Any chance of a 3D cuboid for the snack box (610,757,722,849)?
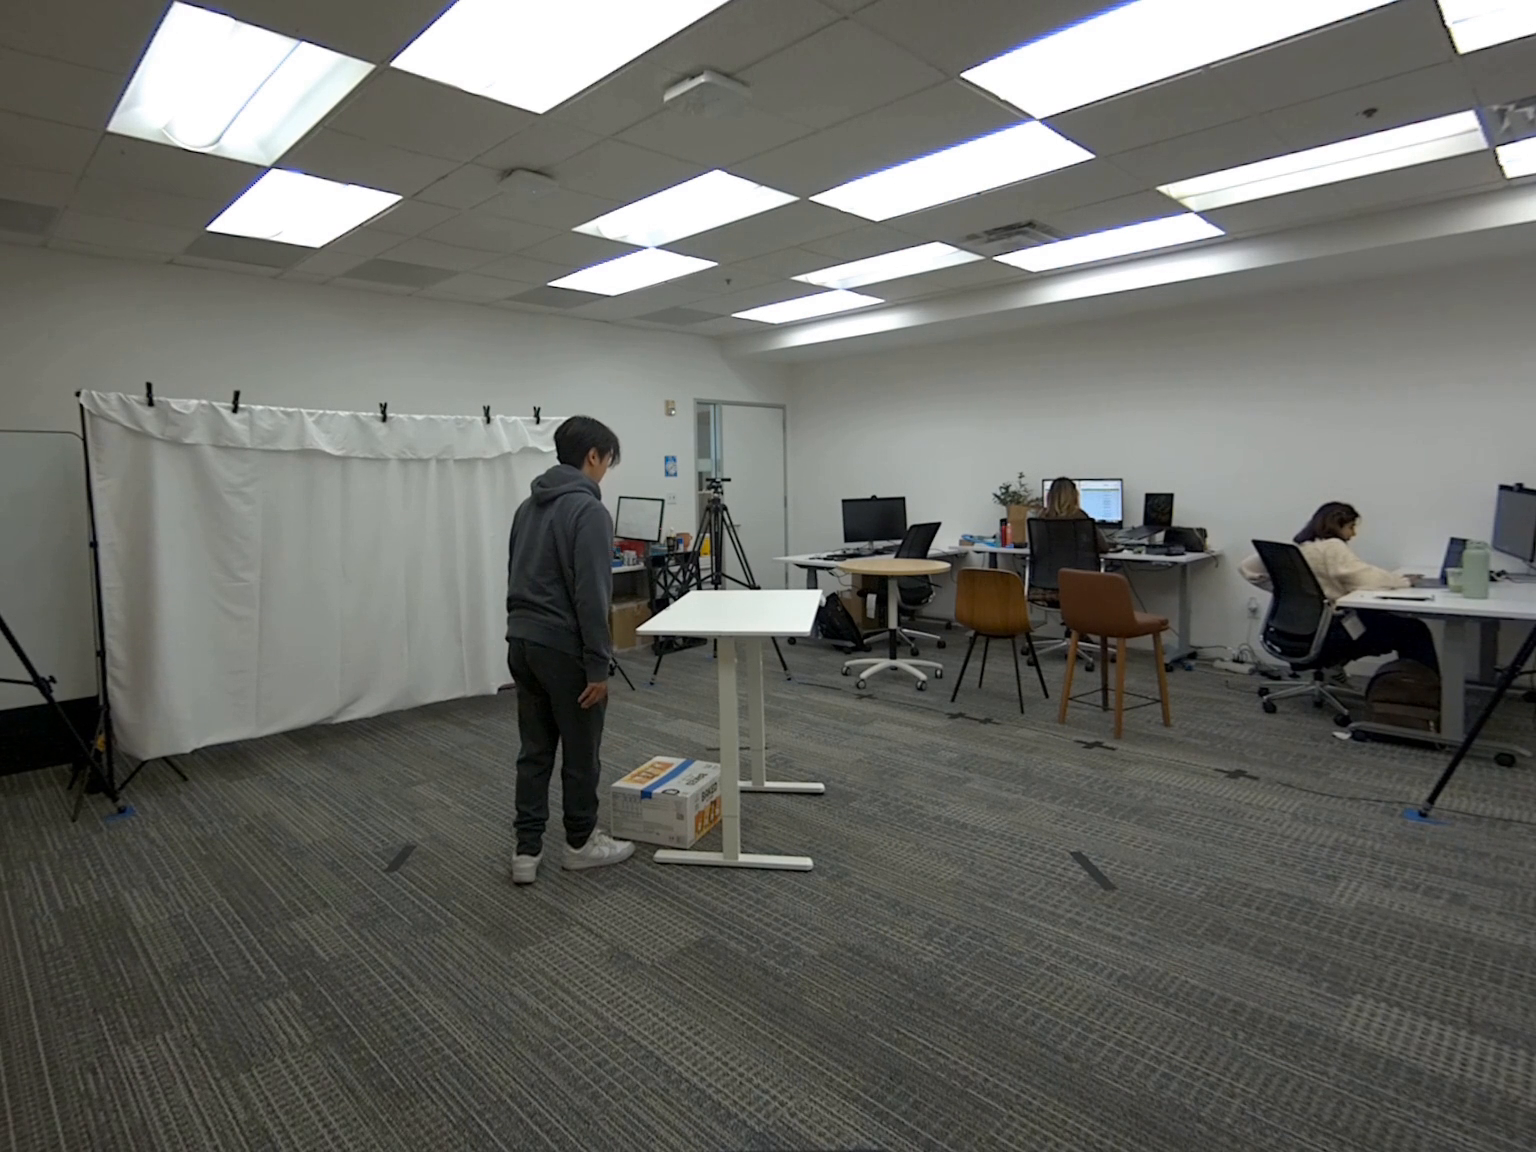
[{"bbox_3d":[-0.389,0.905,3.460,0.347,0.205,0.398,1,6,22],"label":"snack box"}]
